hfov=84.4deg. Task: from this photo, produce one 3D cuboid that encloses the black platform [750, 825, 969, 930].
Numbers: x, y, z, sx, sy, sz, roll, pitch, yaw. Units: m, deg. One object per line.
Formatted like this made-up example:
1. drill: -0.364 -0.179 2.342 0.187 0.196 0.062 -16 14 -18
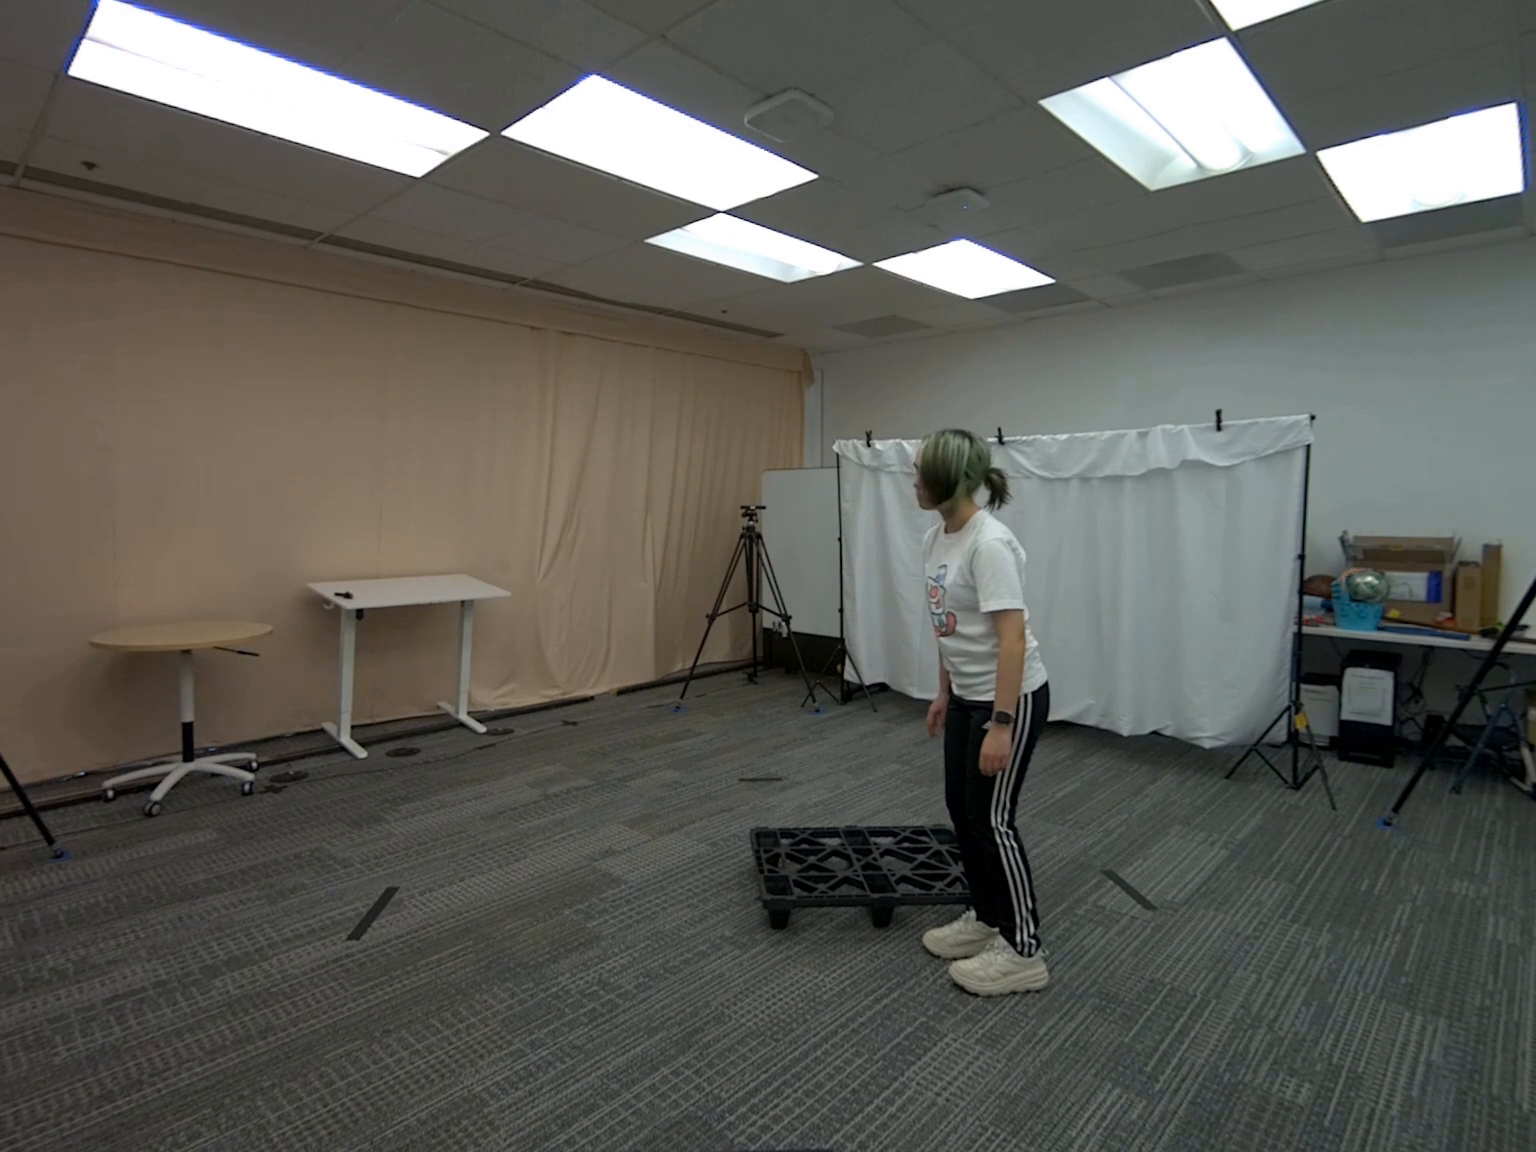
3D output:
1. black platform: 0.354 1.071 3.011 0.804 0.143 0.608 0 4 -3
